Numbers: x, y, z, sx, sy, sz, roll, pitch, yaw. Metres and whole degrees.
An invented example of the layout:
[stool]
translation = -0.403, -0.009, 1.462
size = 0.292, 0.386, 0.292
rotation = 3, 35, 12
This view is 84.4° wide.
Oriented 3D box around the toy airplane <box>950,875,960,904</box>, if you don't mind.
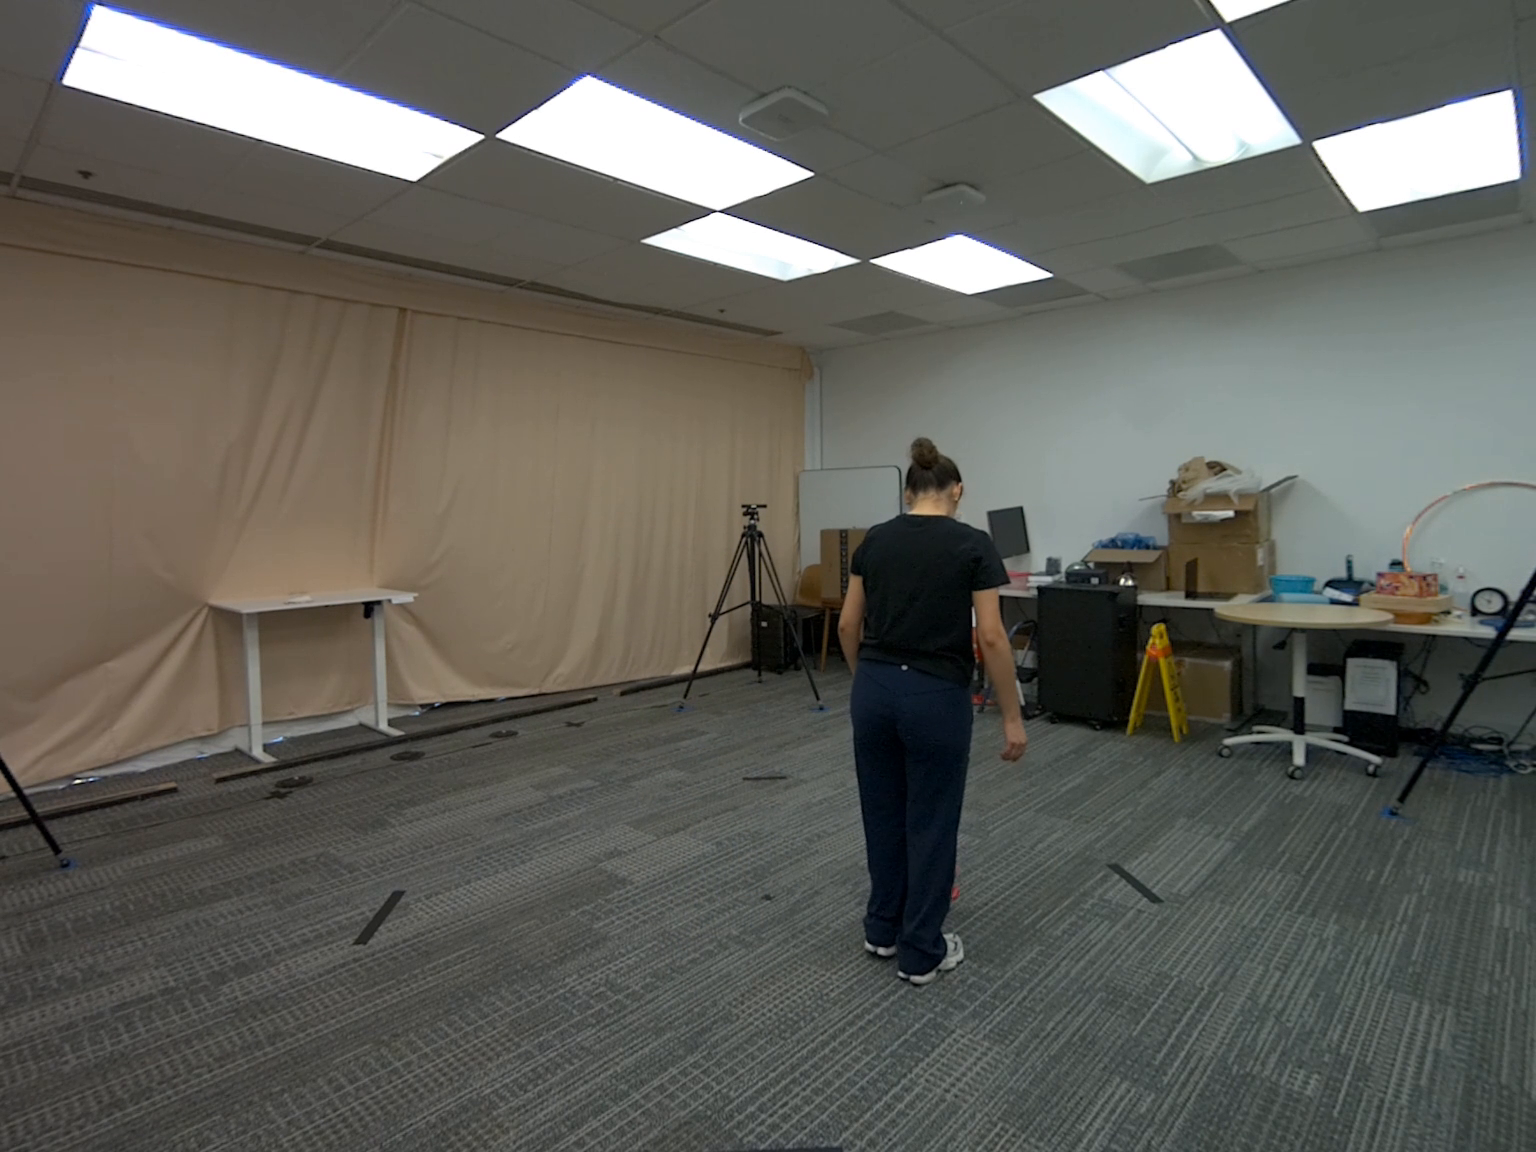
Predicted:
[toy airplane]
translation = 0.556, 1.062, 2.868
size = 0.252, 0.156, 0.258
rotation = 1, 2, 2
